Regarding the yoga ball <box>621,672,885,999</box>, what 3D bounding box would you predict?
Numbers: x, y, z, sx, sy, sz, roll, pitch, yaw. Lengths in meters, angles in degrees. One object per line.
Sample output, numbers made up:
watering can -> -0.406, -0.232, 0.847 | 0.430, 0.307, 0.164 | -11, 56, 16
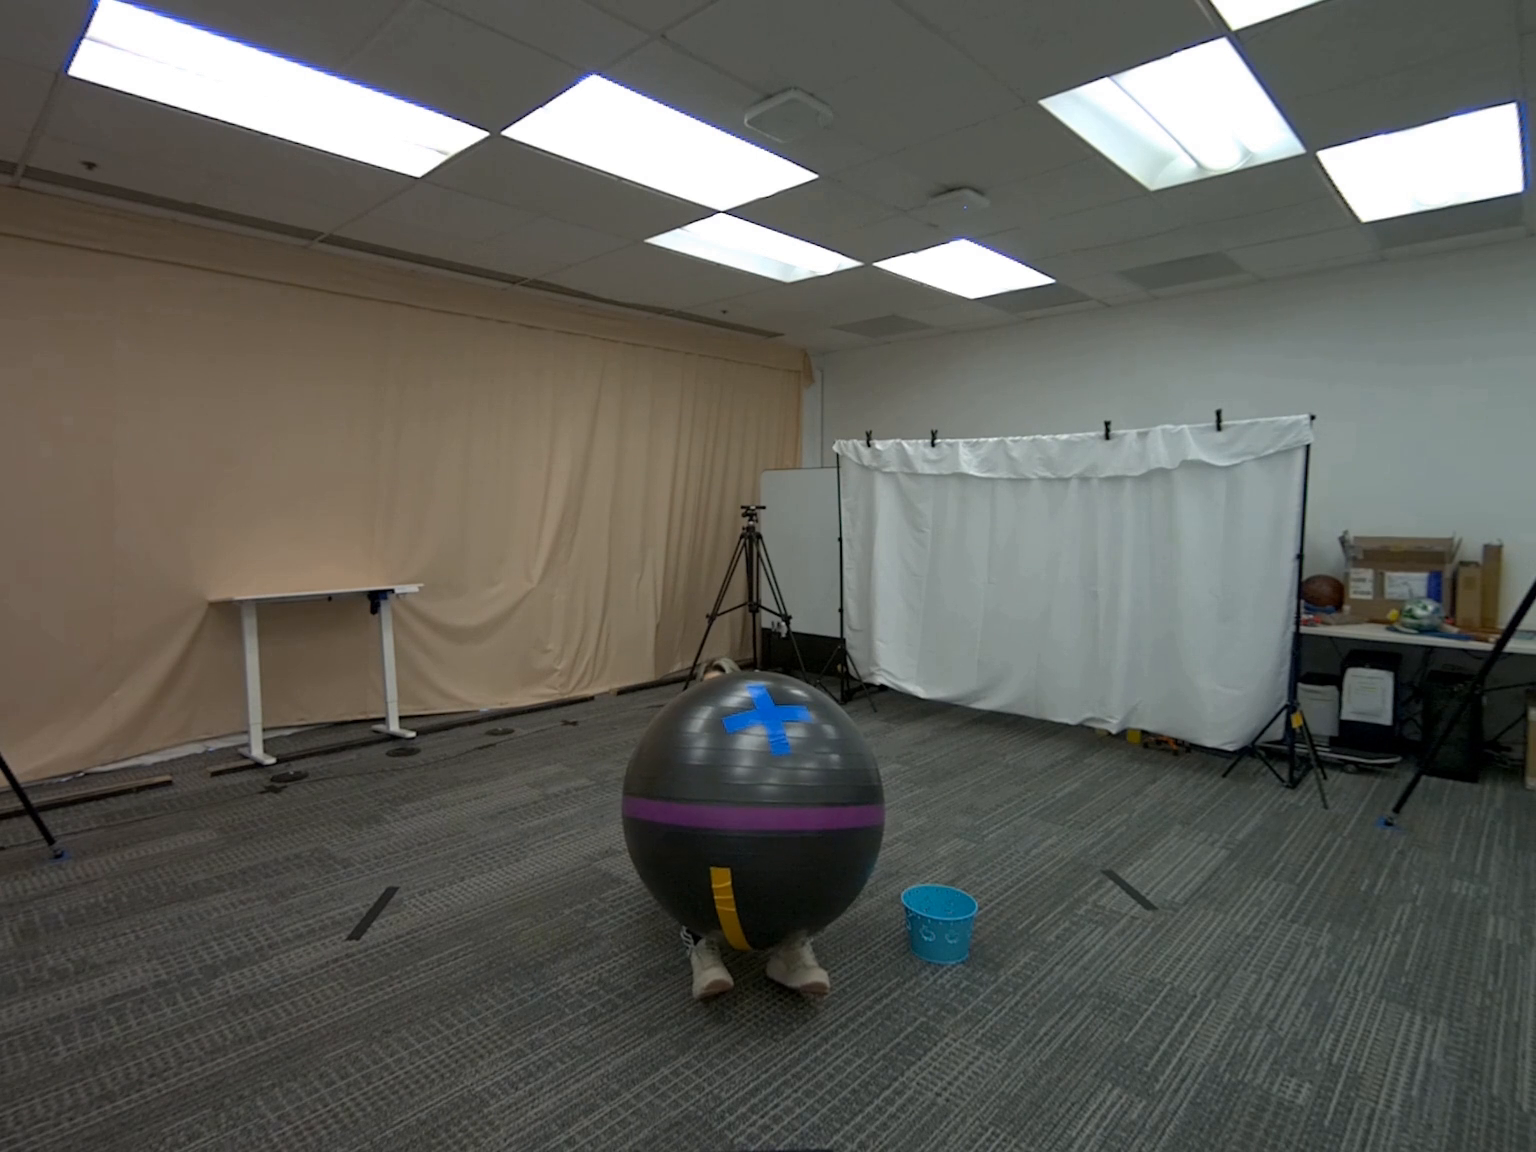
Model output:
yoga ball -> -0.045, 0.667, 2.424 | 0.757, 0.756, 0.761 | 0, 4, -2
